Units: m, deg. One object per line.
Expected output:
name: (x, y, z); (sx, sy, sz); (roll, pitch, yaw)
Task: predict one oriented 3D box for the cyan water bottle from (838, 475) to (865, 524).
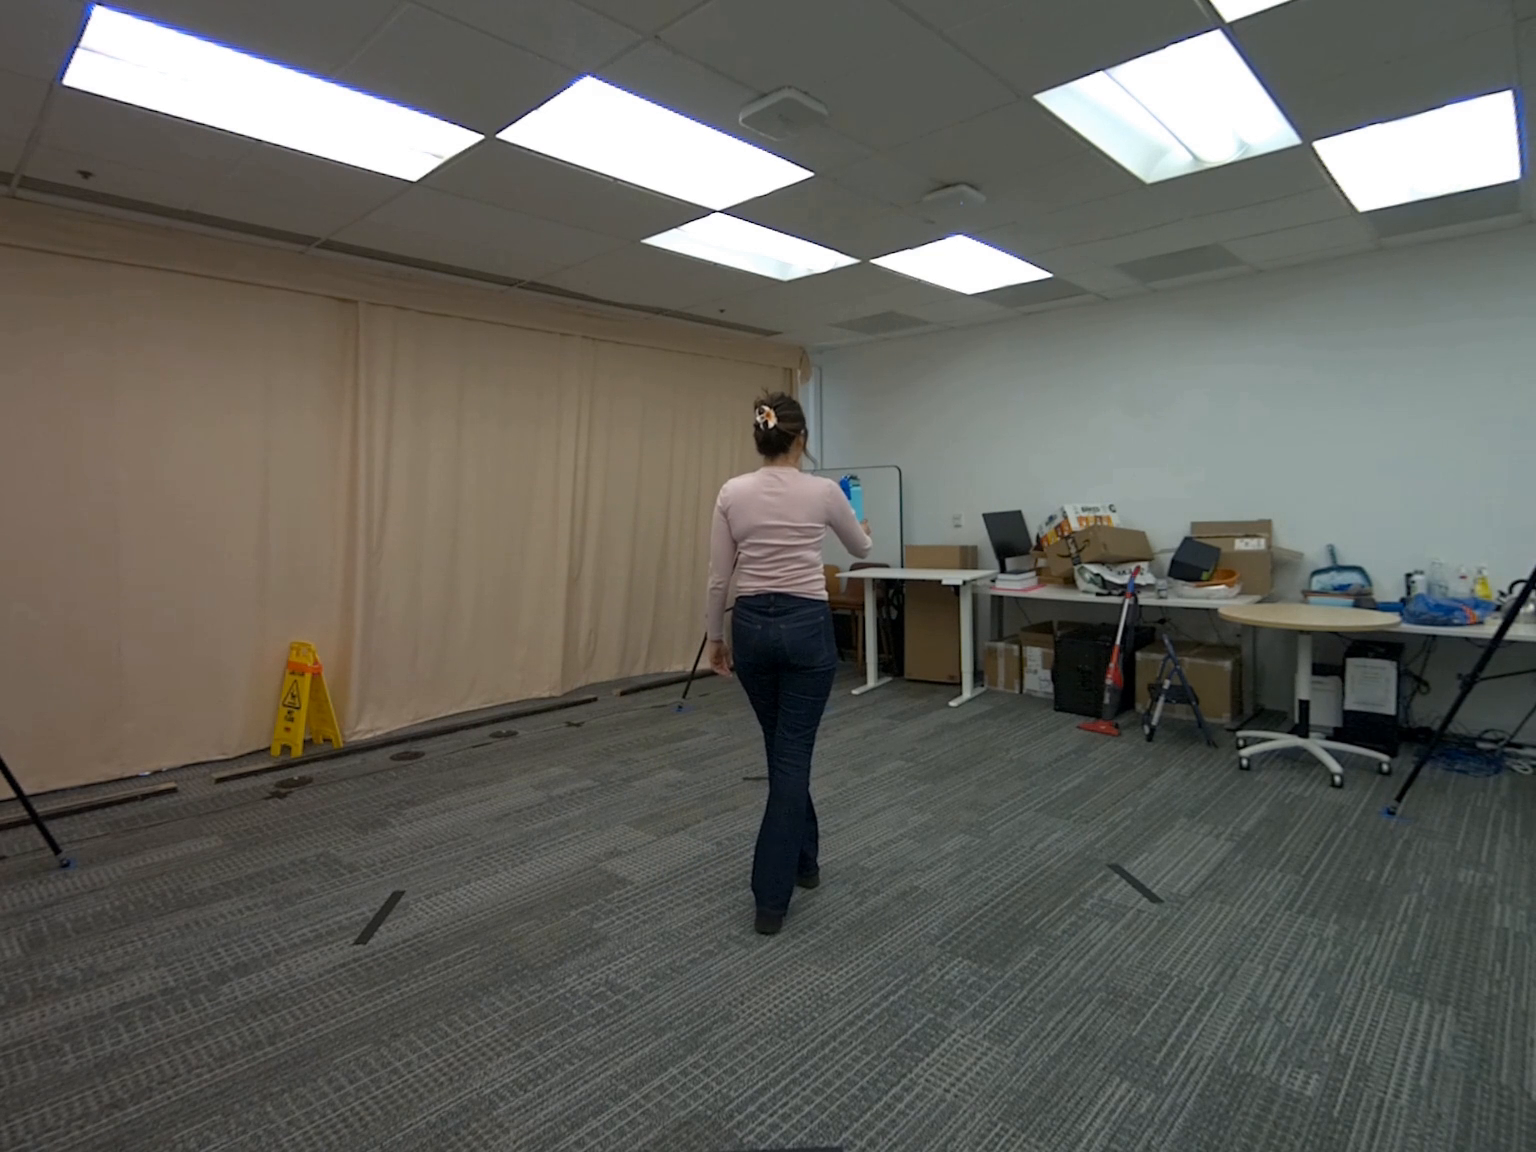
cyan water bottle: (0.339, -0.275, 3.392); (0.092, 0.282, 0.093); (-5, 5, -1)
